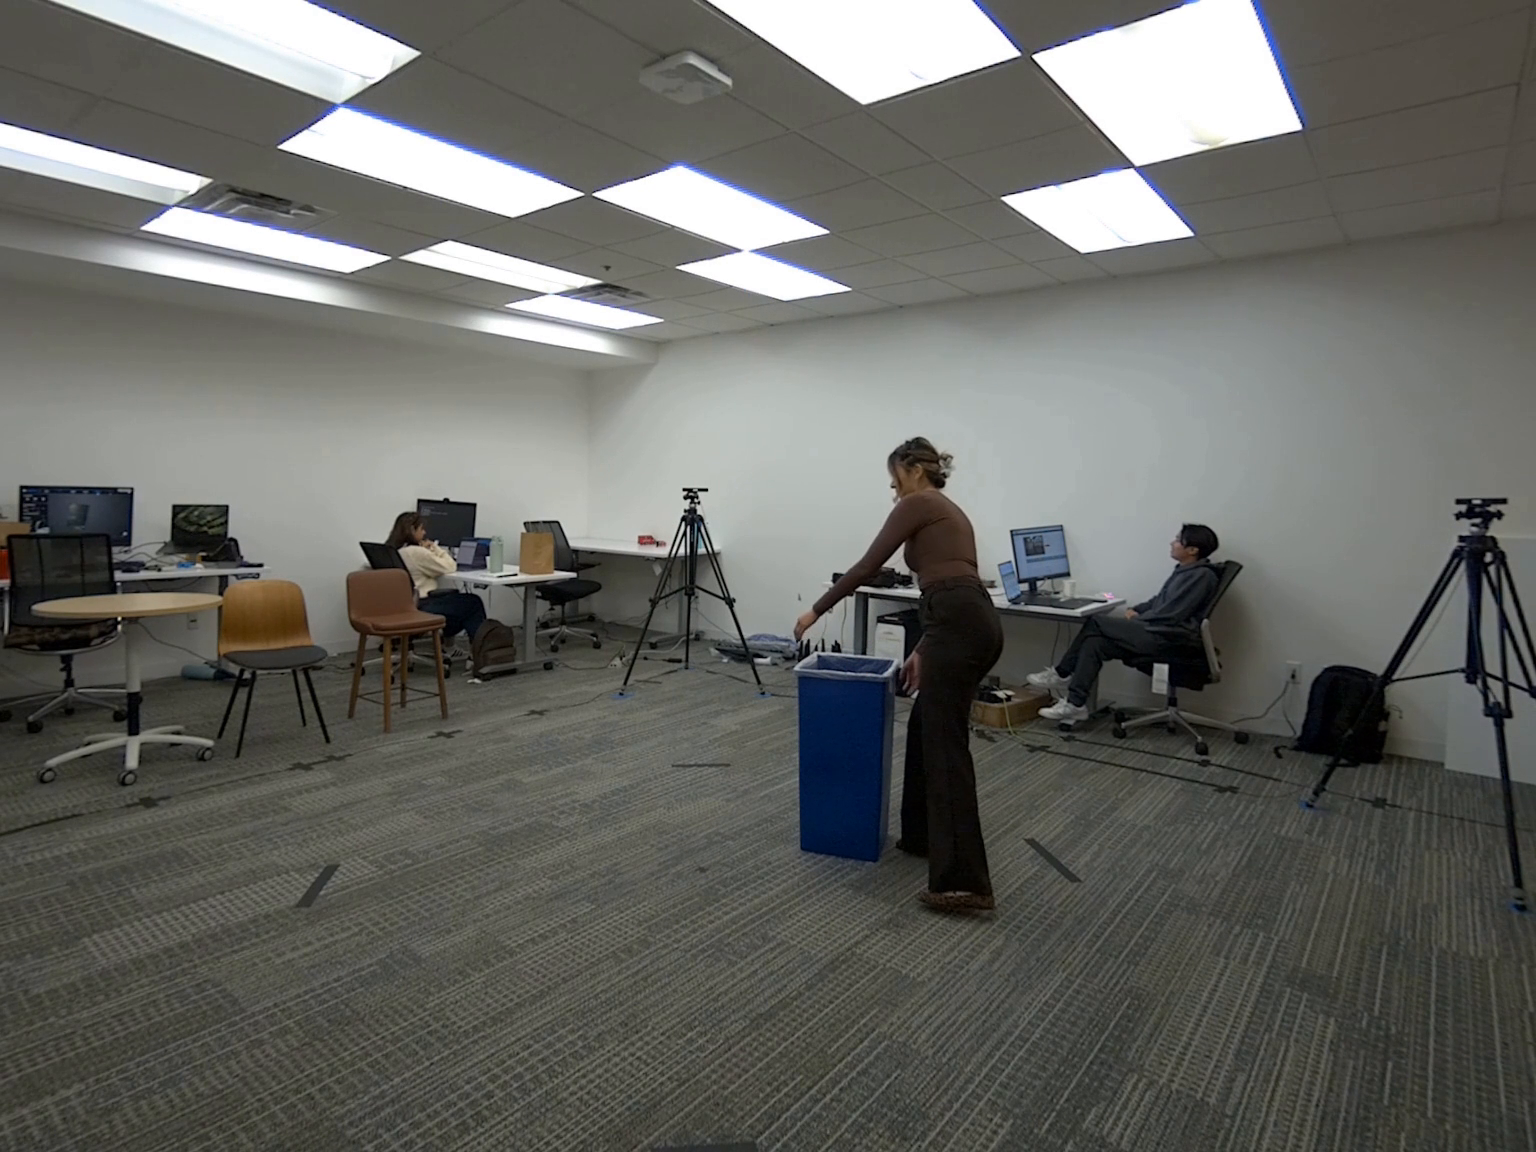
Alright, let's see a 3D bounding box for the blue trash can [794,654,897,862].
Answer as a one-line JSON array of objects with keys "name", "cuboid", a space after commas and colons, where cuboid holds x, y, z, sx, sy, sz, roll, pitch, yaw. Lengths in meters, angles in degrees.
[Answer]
[{"name": "blue trash can", "cuboid": [0.298, 0.696, 3.373, 0.382, 0.712, 0.371, 2, 3, 18]}]
